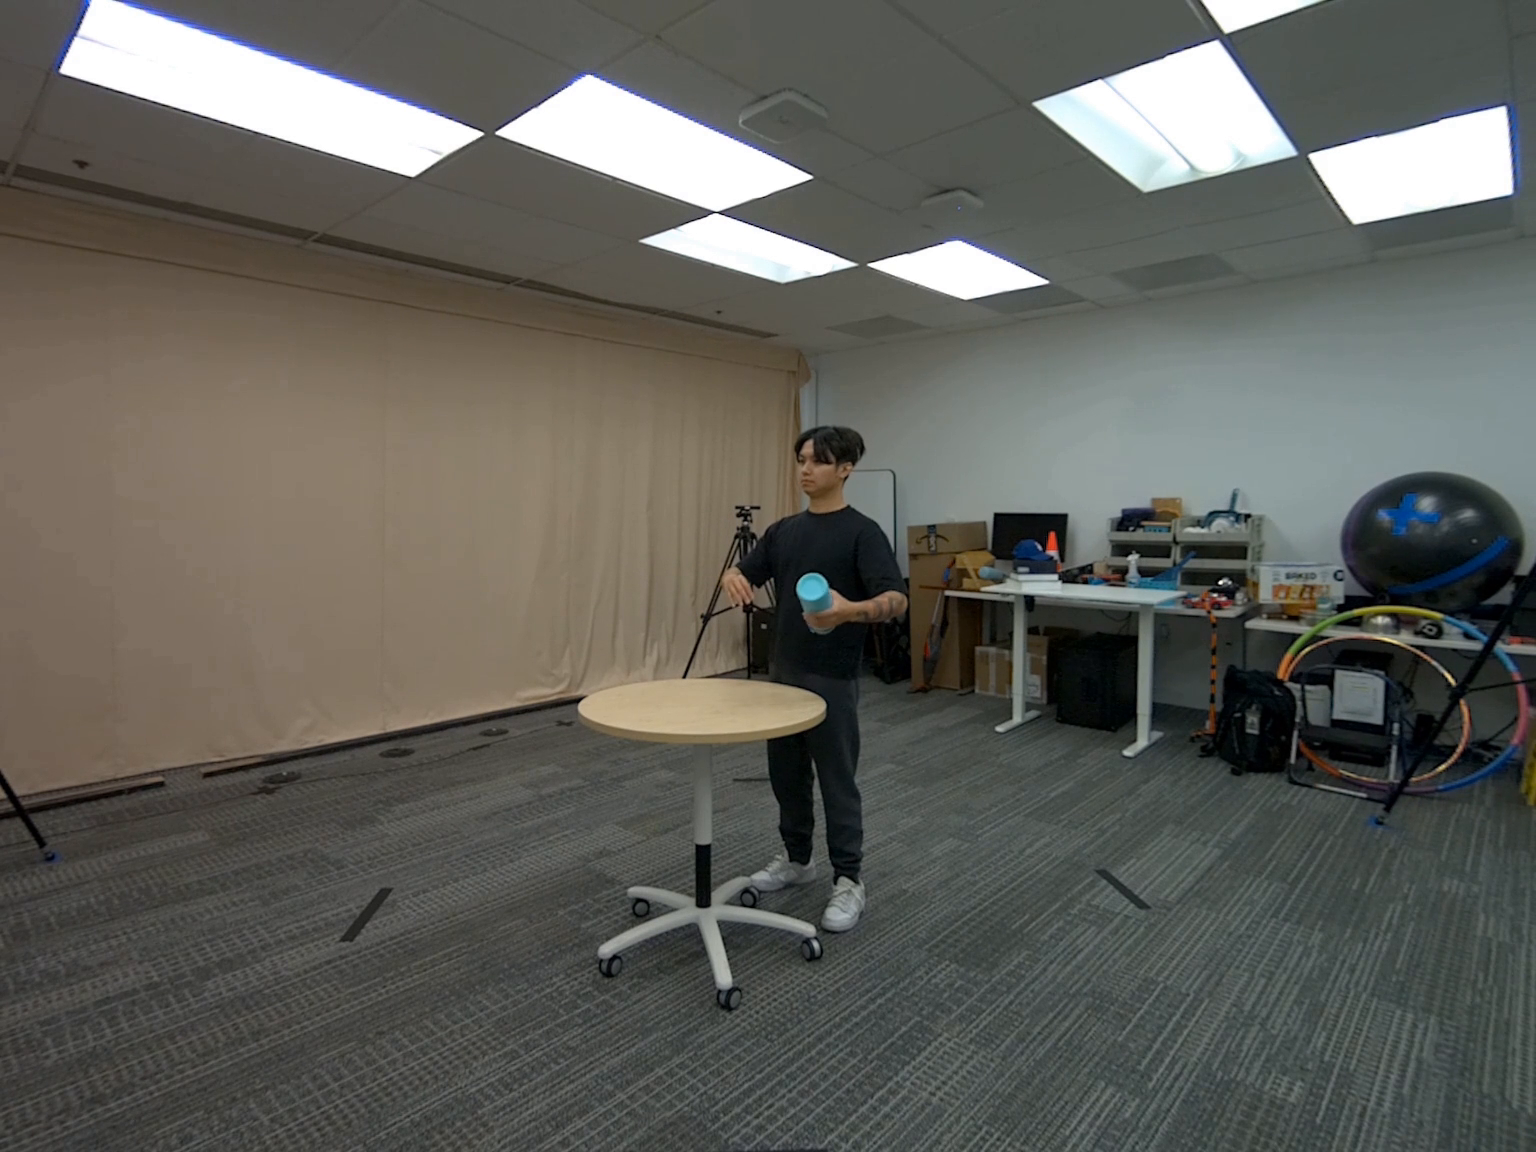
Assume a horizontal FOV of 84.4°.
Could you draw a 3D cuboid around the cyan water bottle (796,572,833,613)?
[{"bbox_3d":[0.140,0.086,2.521,0.093,0.093,0.277,1,-28,6],"label":"cyan water bottle"}]
